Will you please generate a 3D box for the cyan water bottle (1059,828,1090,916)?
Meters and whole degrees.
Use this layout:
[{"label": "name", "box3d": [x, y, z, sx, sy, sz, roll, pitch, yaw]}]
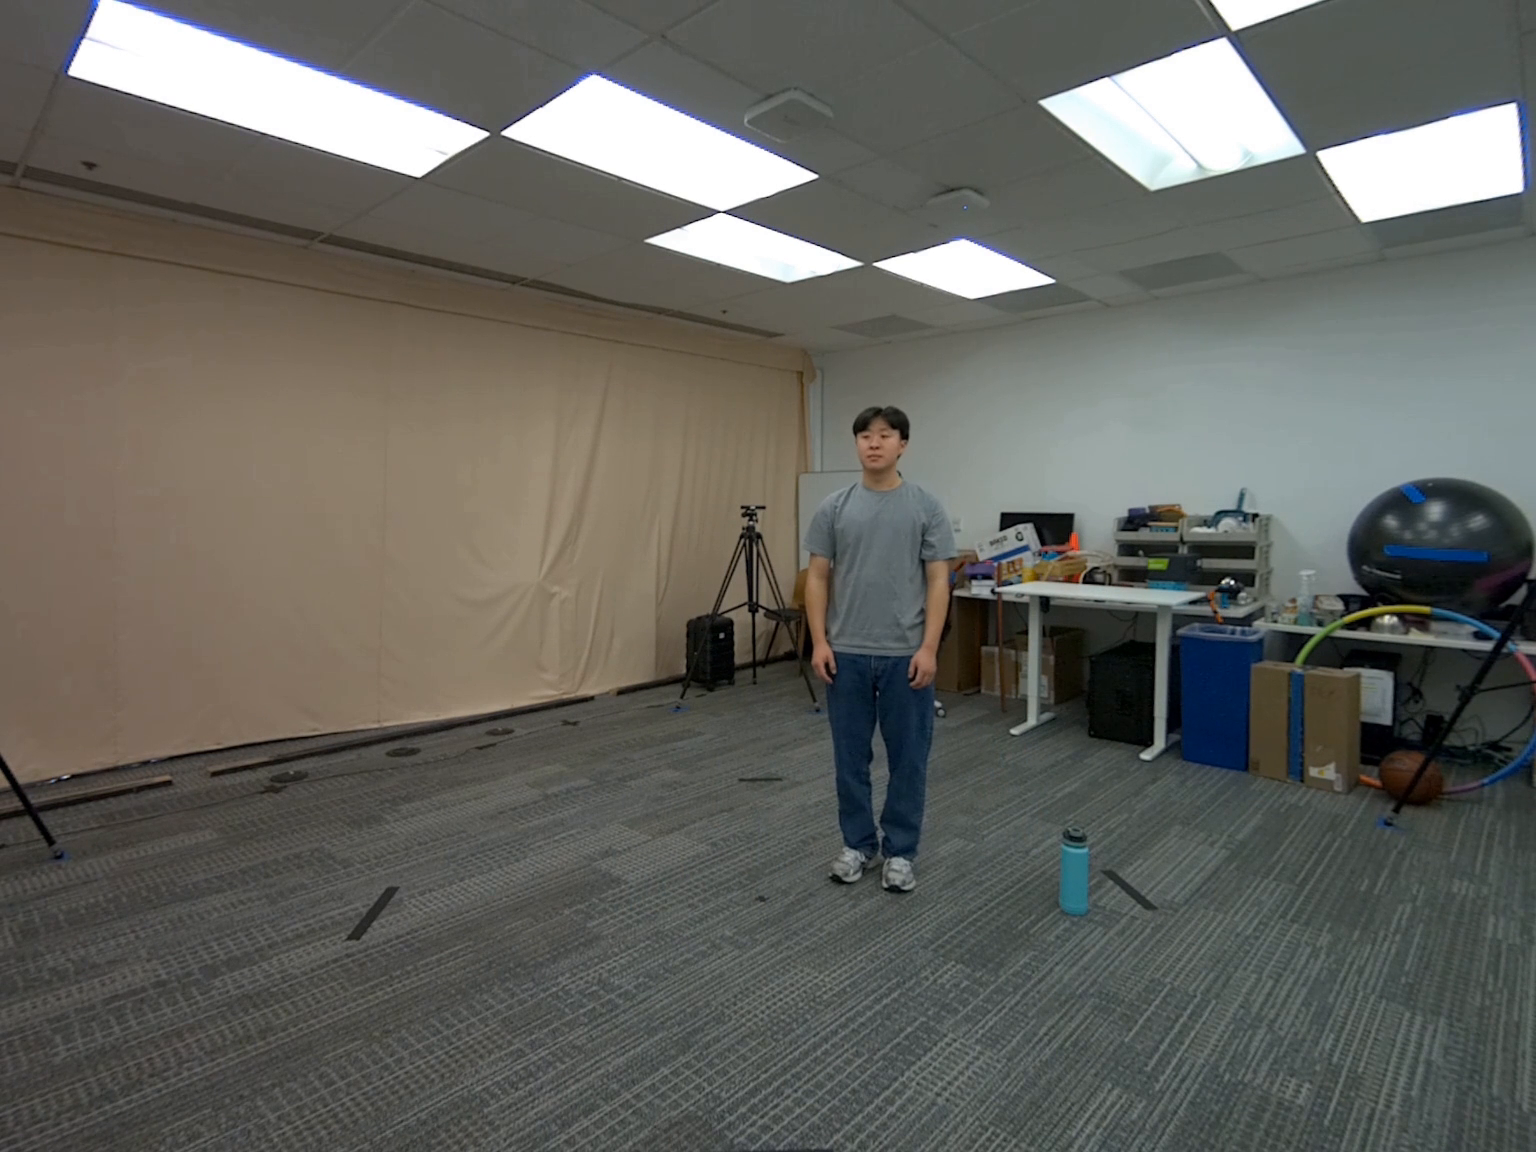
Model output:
[{"label": "cyan water bottle", "box3d": [1.058, 1.007, 2.894, 0.092, 0.283, 0.092, -2, 1, -2]}]
